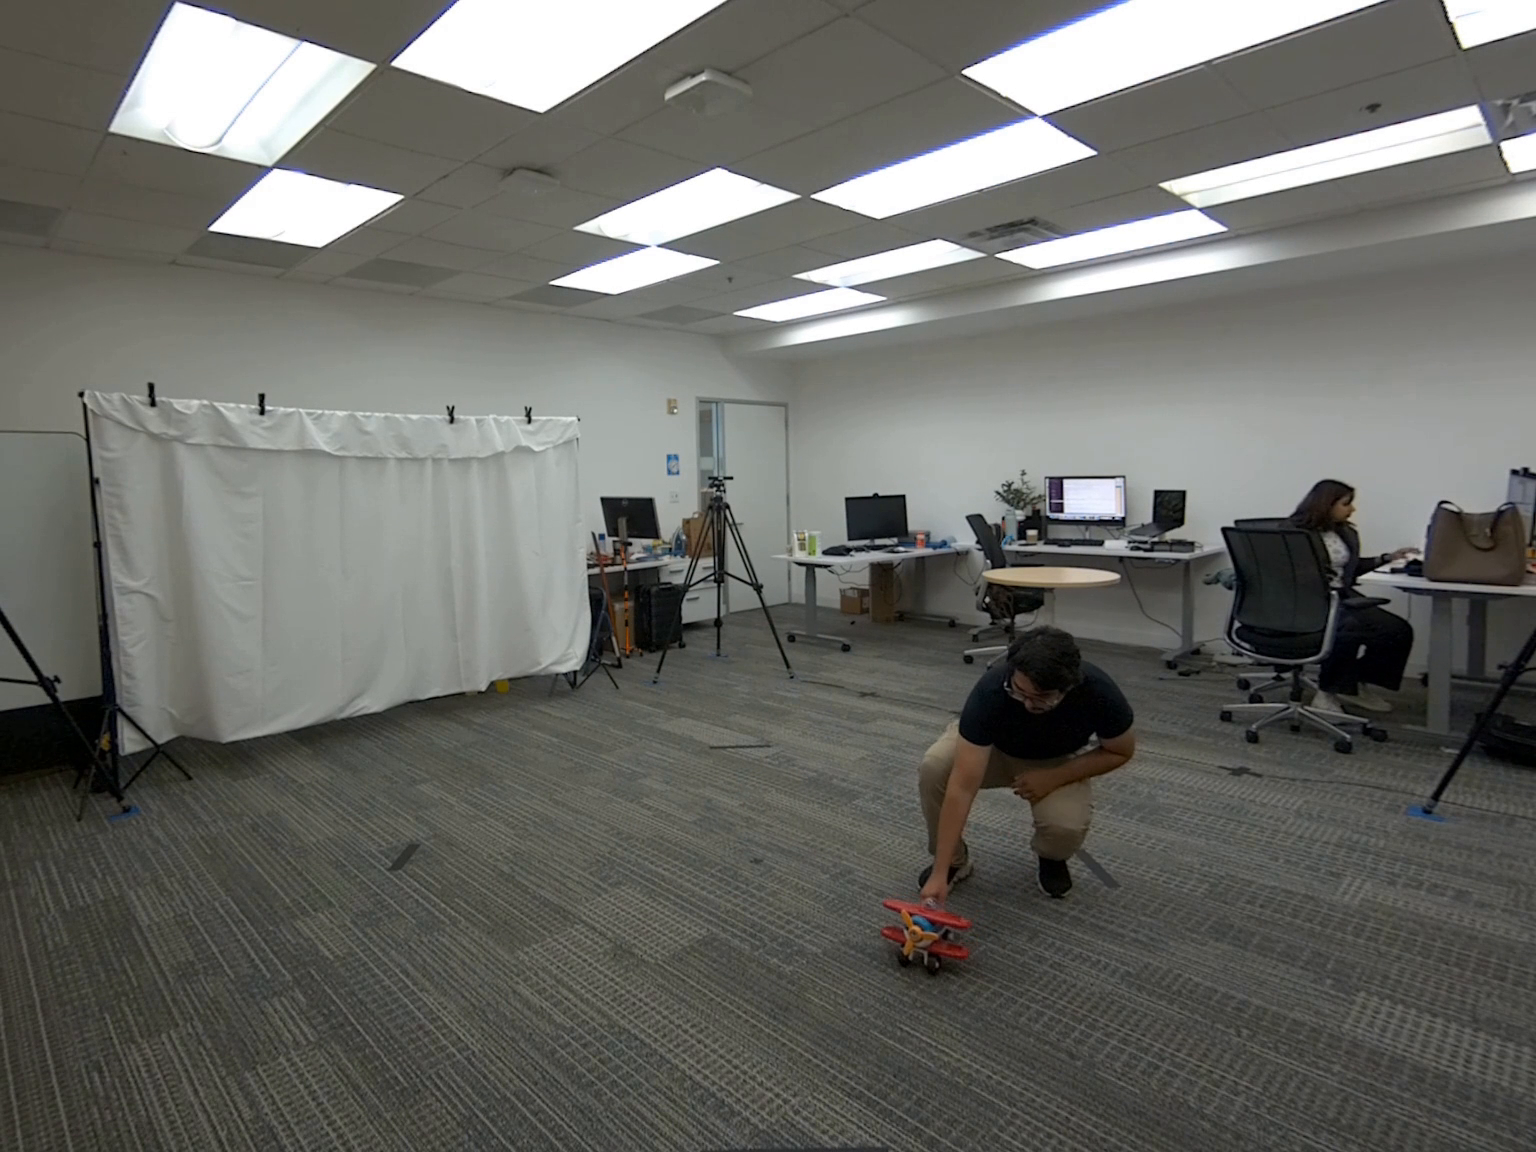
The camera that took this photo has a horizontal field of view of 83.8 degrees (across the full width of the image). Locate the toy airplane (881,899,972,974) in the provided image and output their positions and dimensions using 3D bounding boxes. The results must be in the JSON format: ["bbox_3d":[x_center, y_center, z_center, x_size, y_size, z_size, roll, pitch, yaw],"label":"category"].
[{"bbox_3d":[0.461,1.027,2.484,0.252,0.155,0.260,0,8,2],"label":"toy airplane"}]
